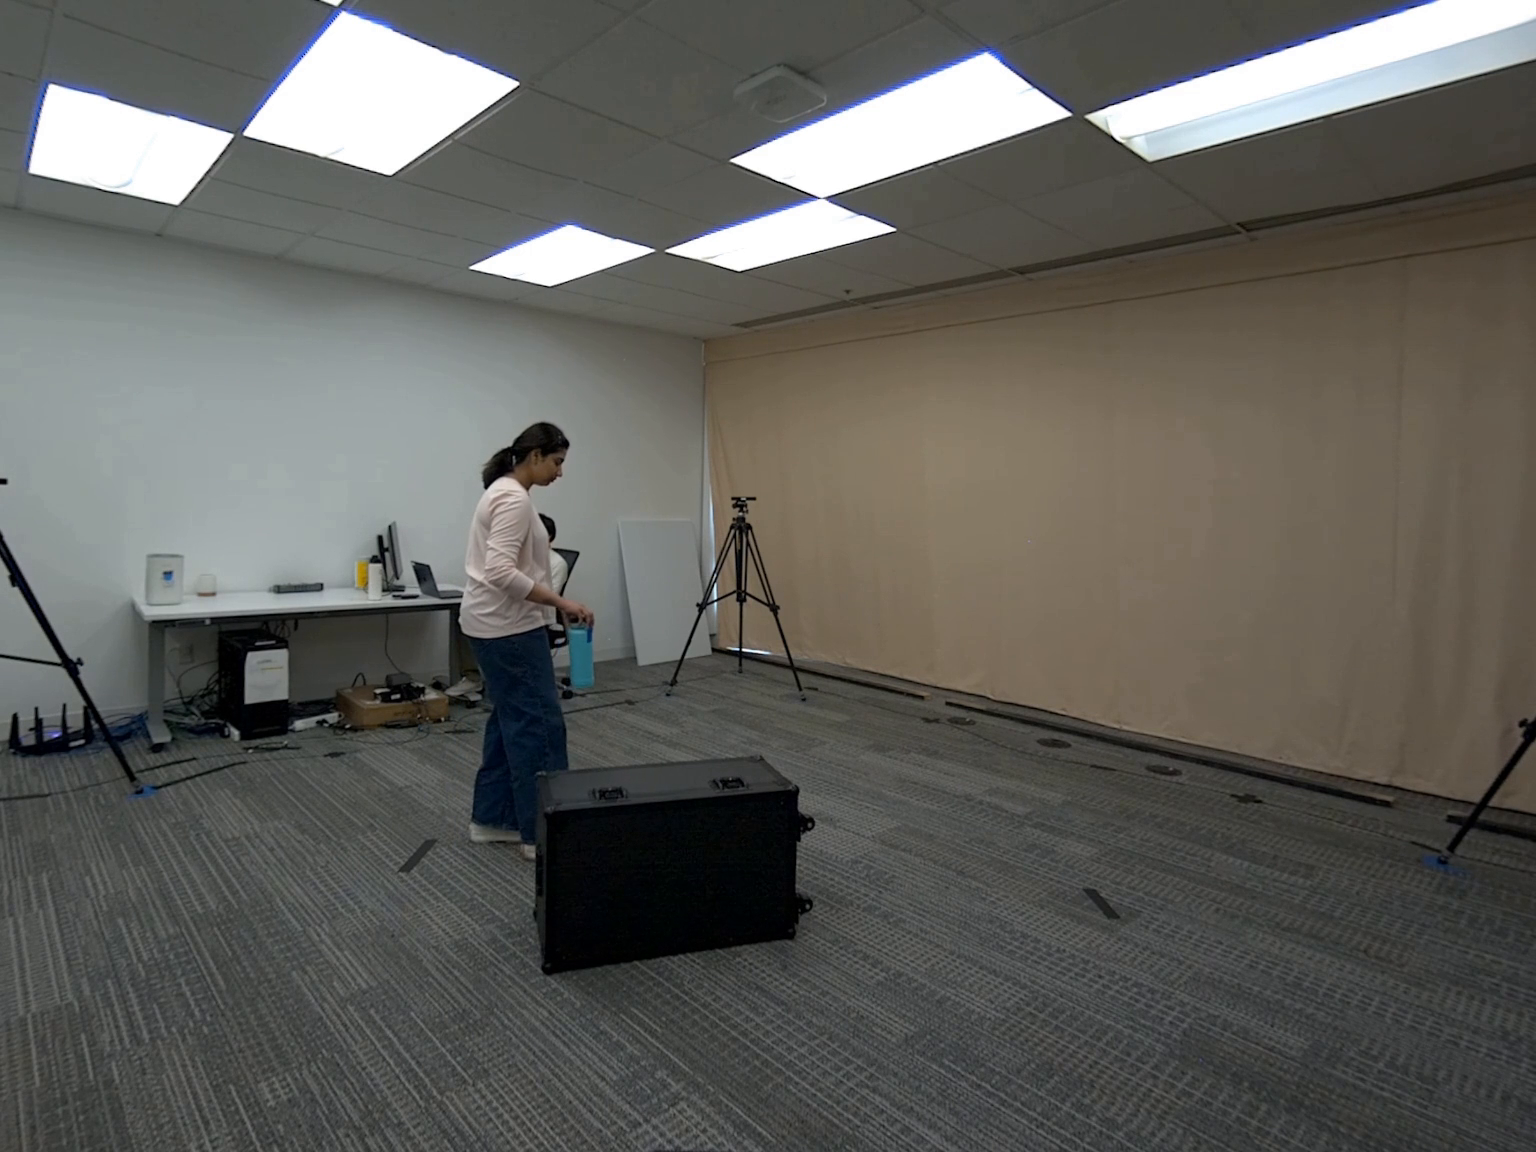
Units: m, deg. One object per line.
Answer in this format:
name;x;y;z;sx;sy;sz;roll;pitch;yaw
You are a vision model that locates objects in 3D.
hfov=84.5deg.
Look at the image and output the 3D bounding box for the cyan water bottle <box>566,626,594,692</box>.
cyan water bottle;-0.733;0.284;3.229;0.092;0.282;0.093;0;8;-1
